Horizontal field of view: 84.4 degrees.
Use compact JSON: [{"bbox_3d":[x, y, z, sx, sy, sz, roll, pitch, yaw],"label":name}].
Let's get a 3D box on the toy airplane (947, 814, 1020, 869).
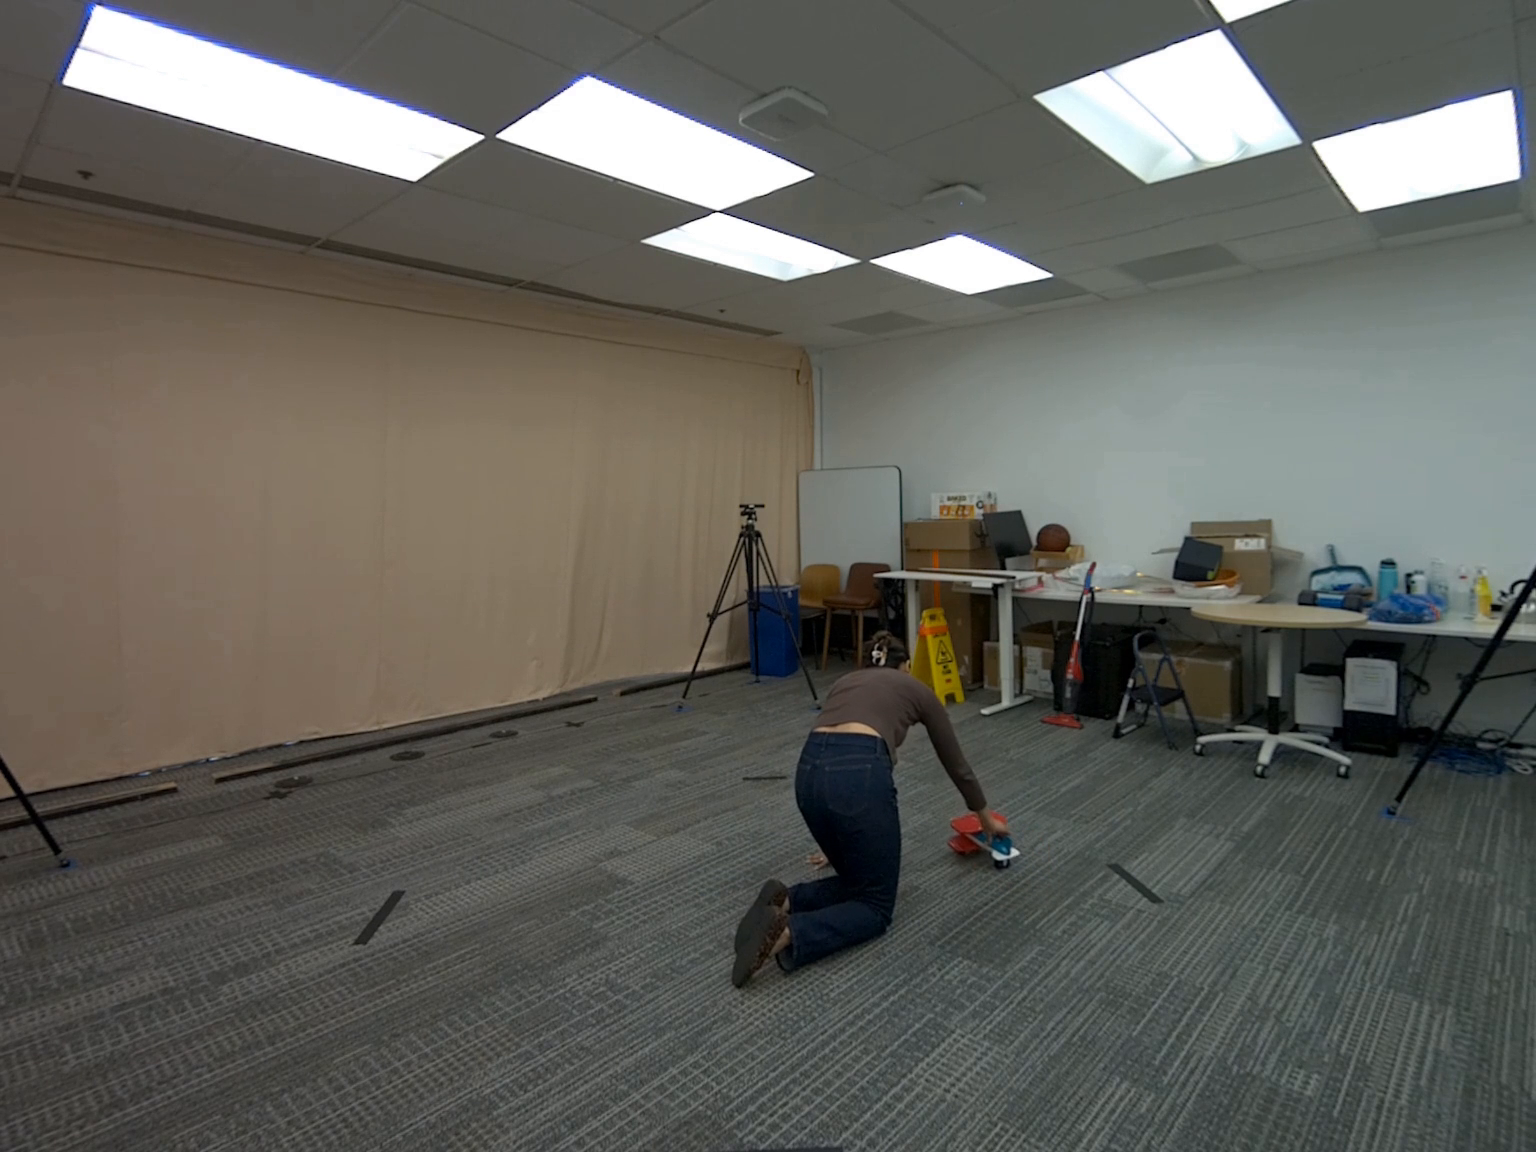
[{"bbox_3d":[0.858,1.028,3.281,0.267,0.156,0.244,0,2,31],"label":"toy airplane"}]
